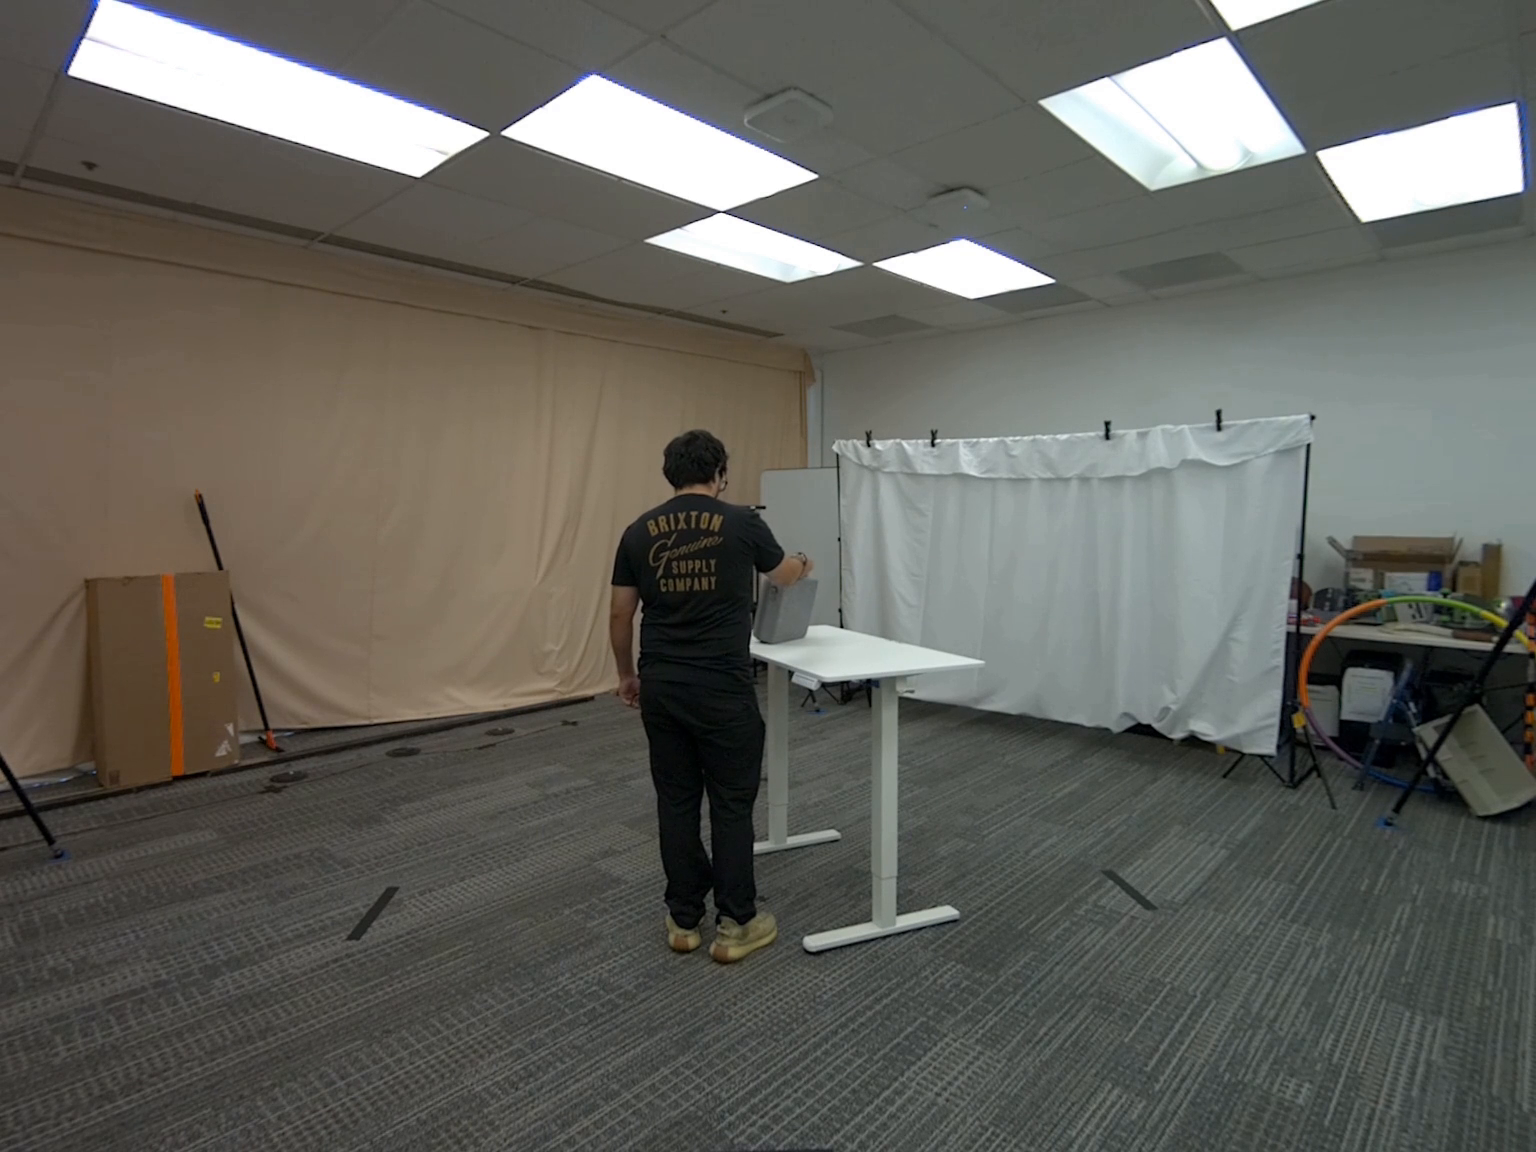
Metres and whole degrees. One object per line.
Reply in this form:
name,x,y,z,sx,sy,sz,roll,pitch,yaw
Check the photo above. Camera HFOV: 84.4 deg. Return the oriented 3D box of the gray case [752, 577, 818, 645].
gray case,0.070,0.114,3.178,0.108,0.259,0.249,17,13,33
